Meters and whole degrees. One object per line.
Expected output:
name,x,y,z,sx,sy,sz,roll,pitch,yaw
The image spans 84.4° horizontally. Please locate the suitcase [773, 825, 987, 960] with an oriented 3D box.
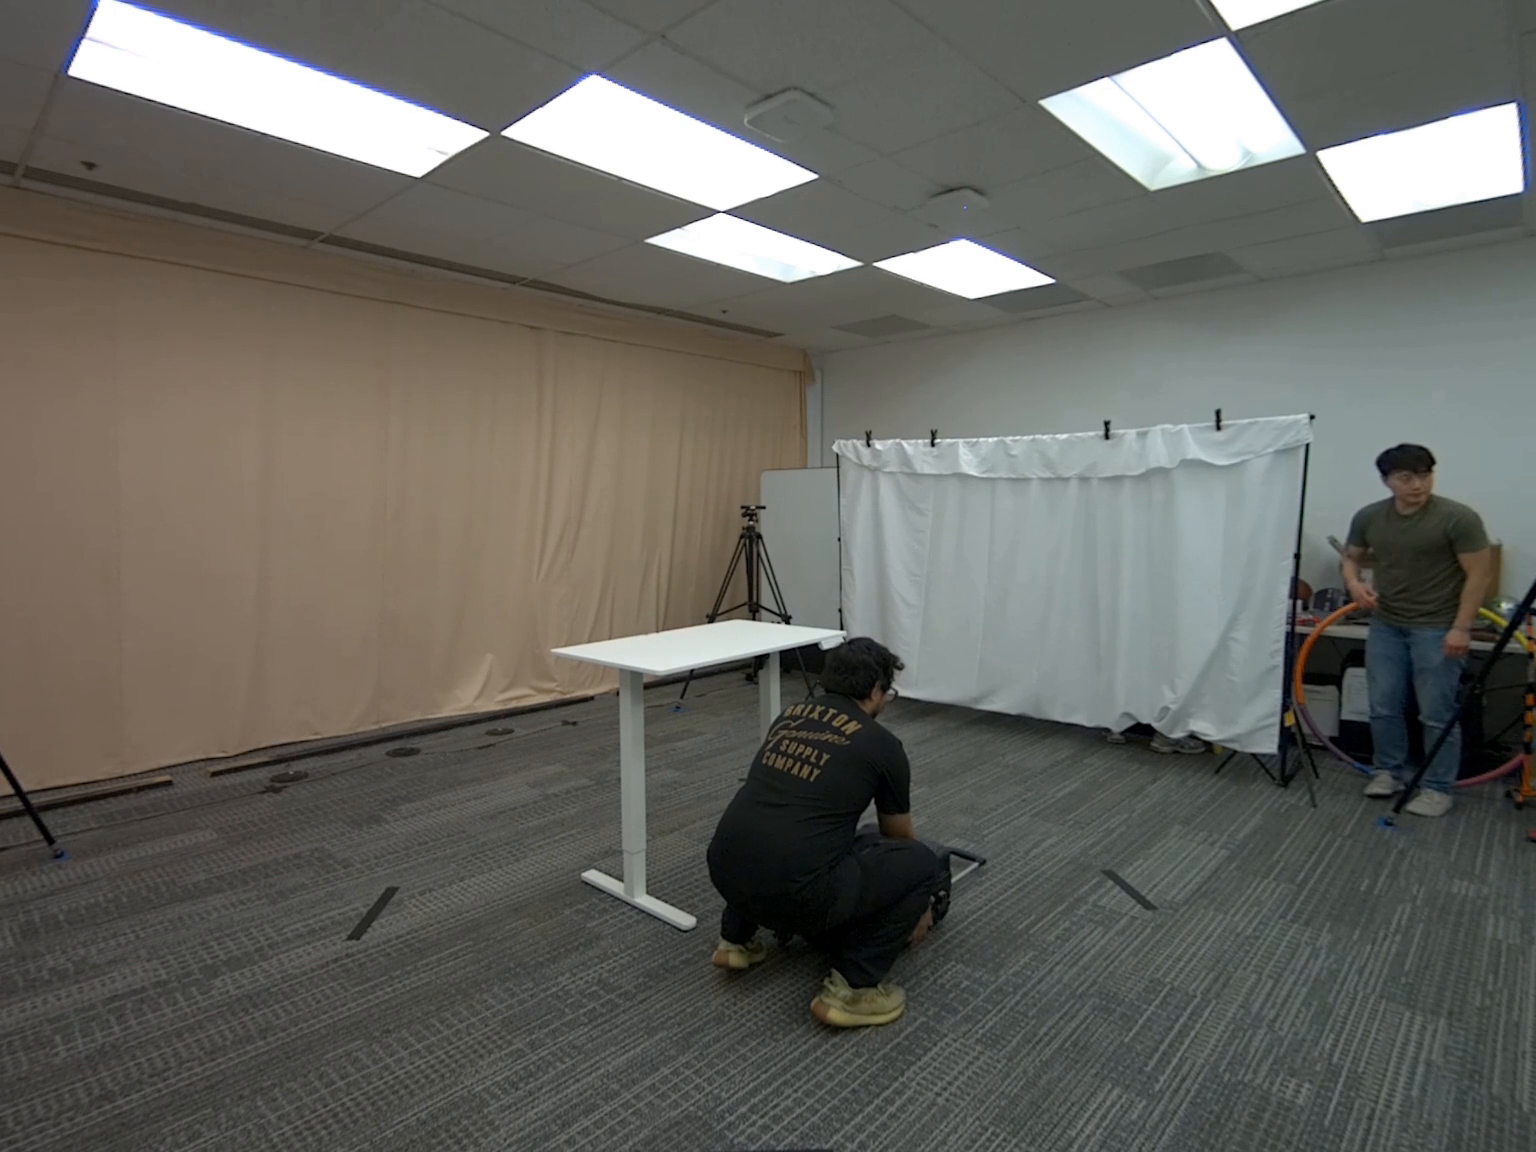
suitcase,0.480,1.004,2.878,0.396,0.256,0.952,3,9,37
